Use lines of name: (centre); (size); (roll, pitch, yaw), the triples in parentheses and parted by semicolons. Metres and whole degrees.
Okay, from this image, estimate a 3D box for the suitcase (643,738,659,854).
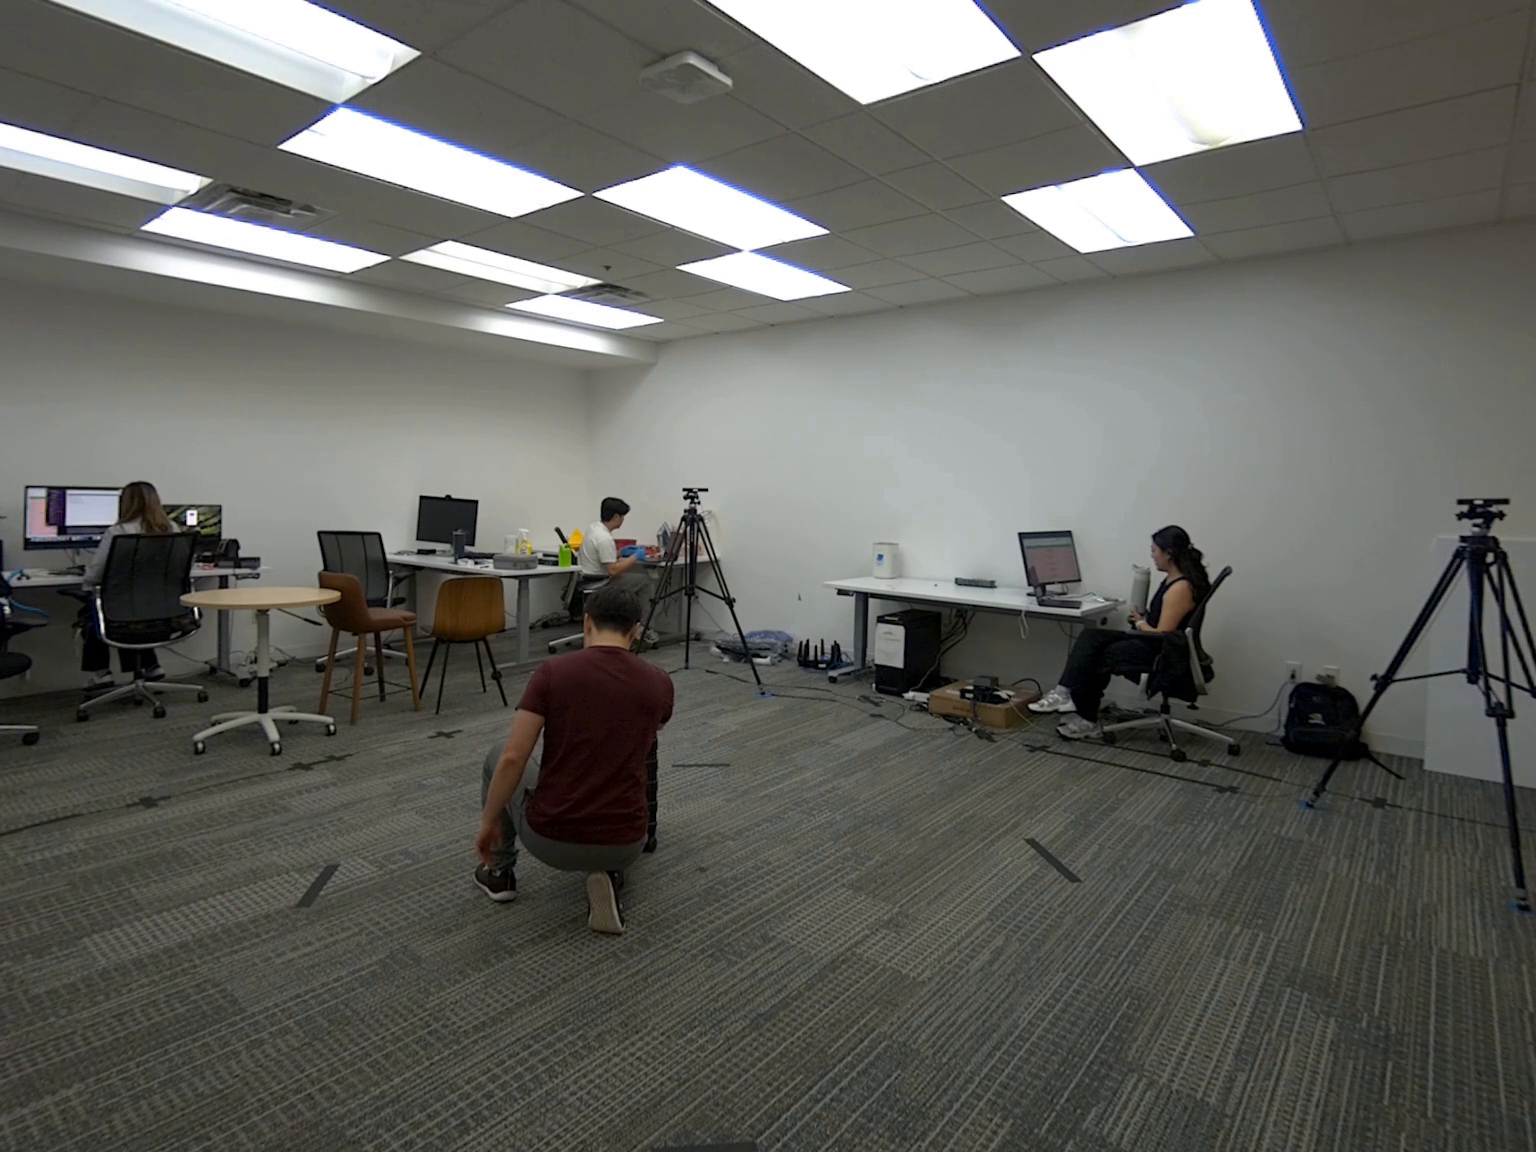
suitcase: (-0.621, 0.562, 3.296); (0.376, 0.975, 0.263); (-1, 4, -22)
